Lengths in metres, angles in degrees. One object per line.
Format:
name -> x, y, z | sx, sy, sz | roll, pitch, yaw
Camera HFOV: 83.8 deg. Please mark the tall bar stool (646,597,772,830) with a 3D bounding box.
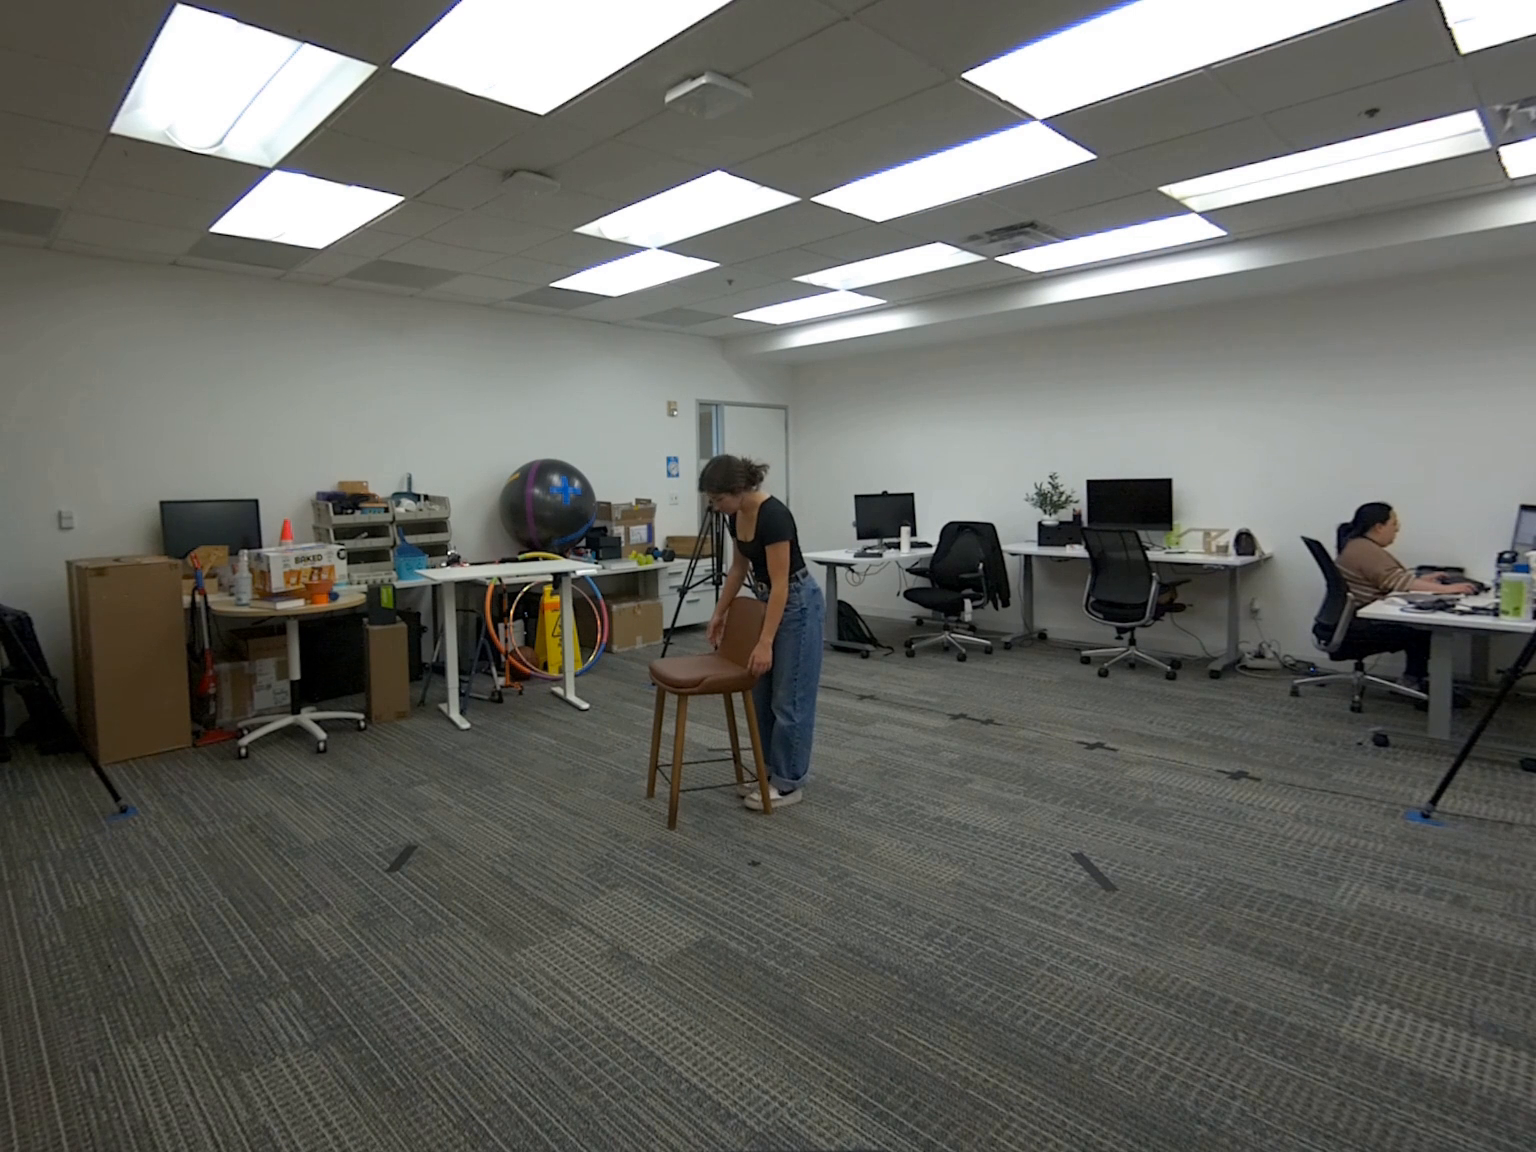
tall bar stool -> -0.260, 0.549, 3.648 | 0.459, 0.887, 0.466 | -1, 4, -20
